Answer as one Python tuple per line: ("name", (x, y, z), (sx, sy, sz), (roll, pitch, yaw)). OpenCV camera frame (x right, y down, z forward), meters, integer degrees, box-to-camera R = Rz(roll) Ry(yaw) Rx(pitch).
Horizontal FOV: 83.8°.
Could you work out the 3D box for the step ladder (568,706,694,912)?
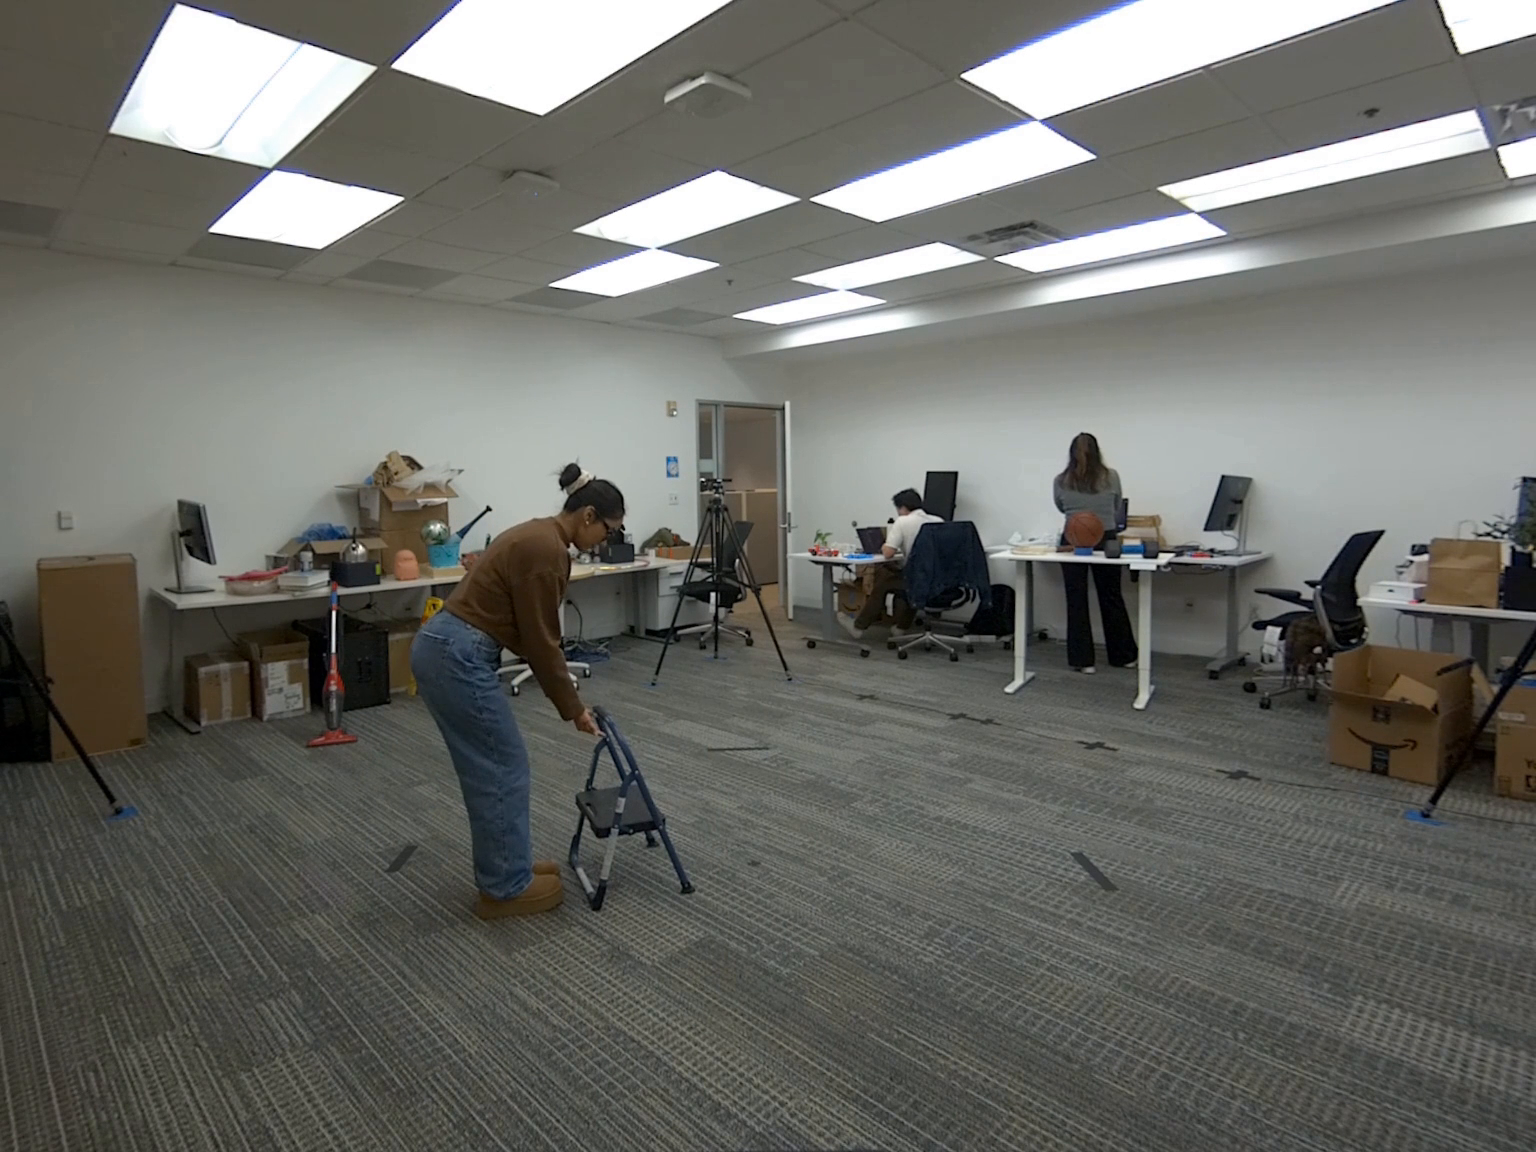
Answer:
("step ladder", (-0.497, 0.759, 3.015), (0.342, 0.604, 0.441), (-3, 4, -25))
